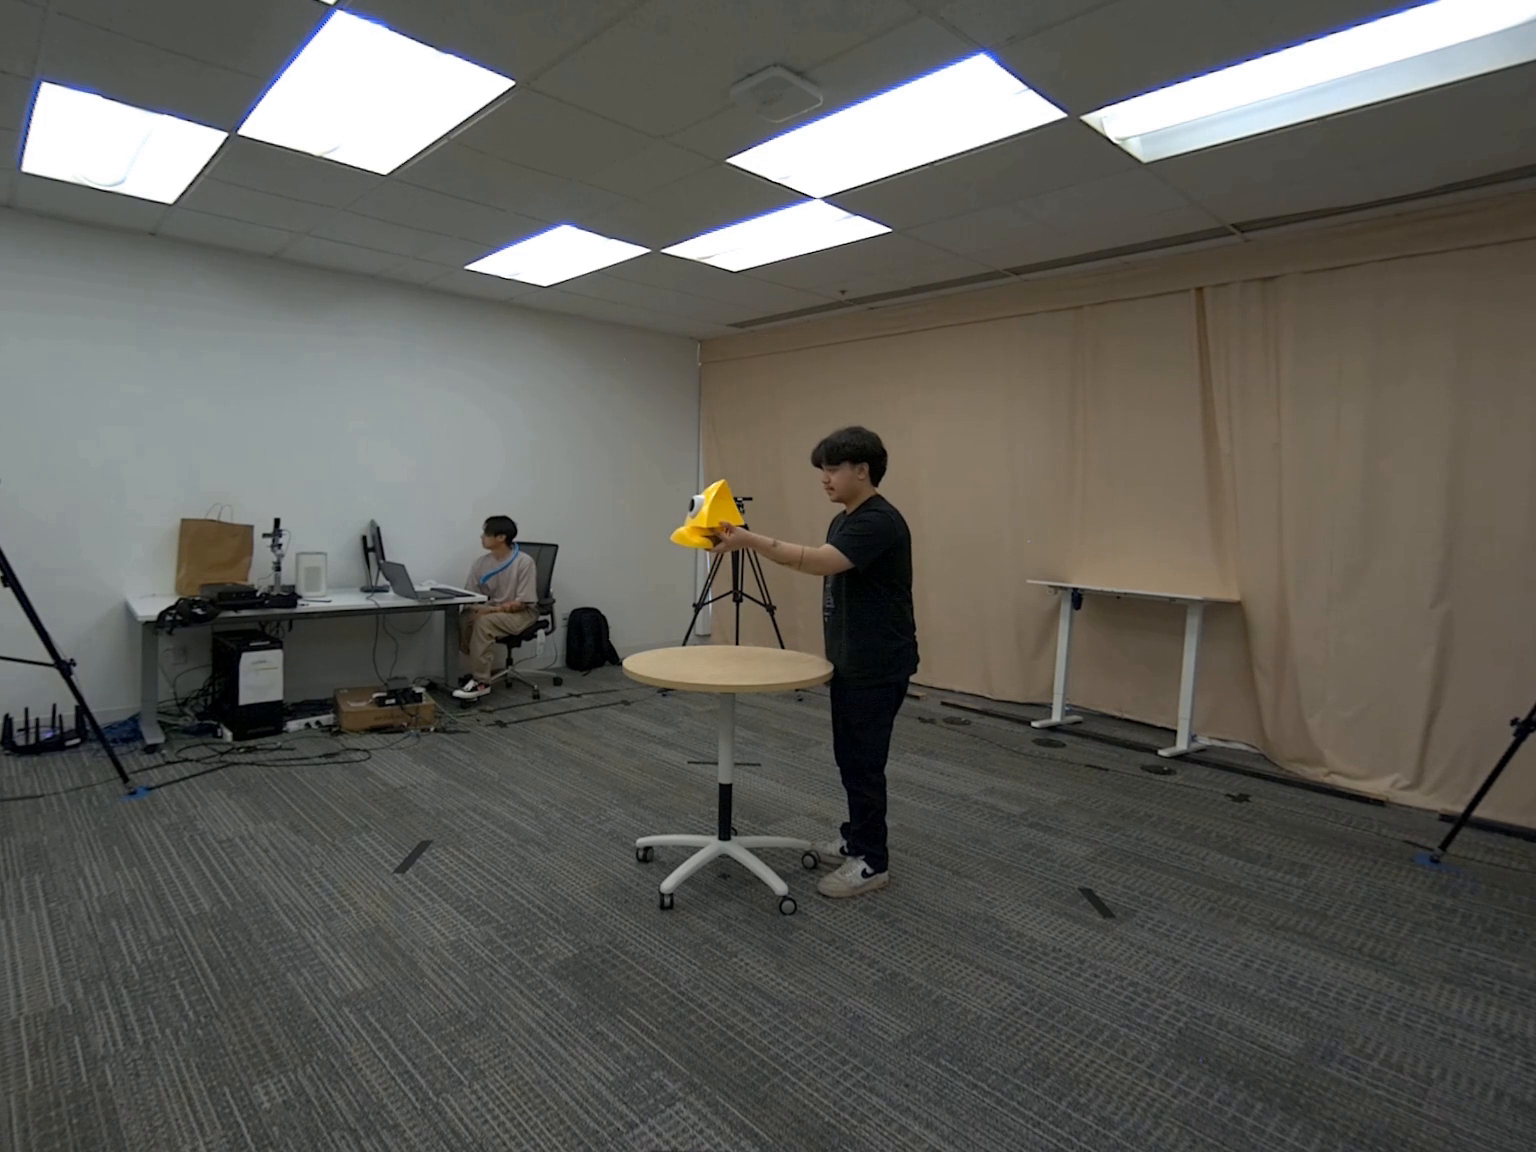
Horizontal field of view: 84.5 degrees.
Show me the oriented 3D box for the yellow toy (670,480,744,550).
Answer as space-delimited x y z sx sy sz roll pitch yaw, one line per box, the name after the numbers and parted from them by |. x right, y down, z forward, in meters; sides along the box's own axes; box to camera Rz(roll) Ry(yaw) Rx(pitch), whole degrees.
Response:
-0.213 -0.212 2.848 0.198 0.229 0.201 16 16 37 | yellow toy
